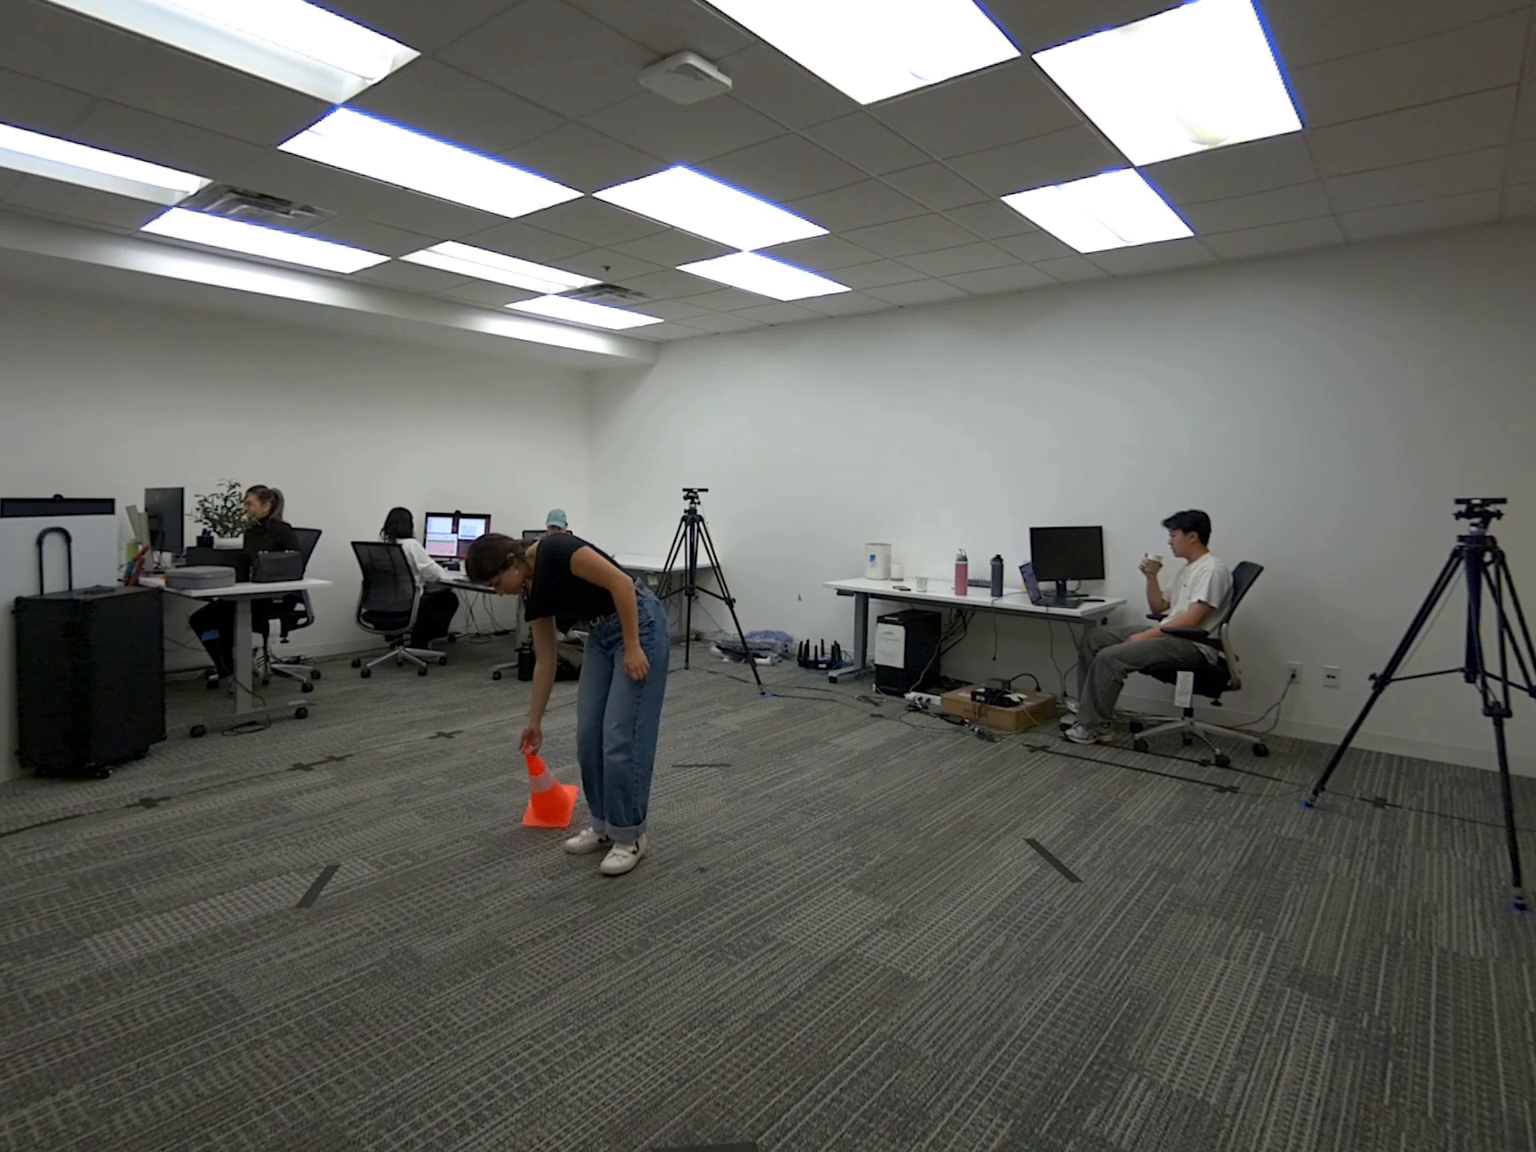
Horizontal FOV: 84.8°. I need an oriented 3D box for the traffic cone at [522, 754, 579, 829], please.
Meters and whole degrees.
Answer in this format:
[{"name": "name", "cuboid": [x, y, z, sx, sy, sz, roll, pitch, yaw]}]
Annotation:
[{"name": "traffic cone", "cuboid": [-0.918, 0.817, 3.438, 0.206, 0.372, 0.209, 2, 40, 9]}]
